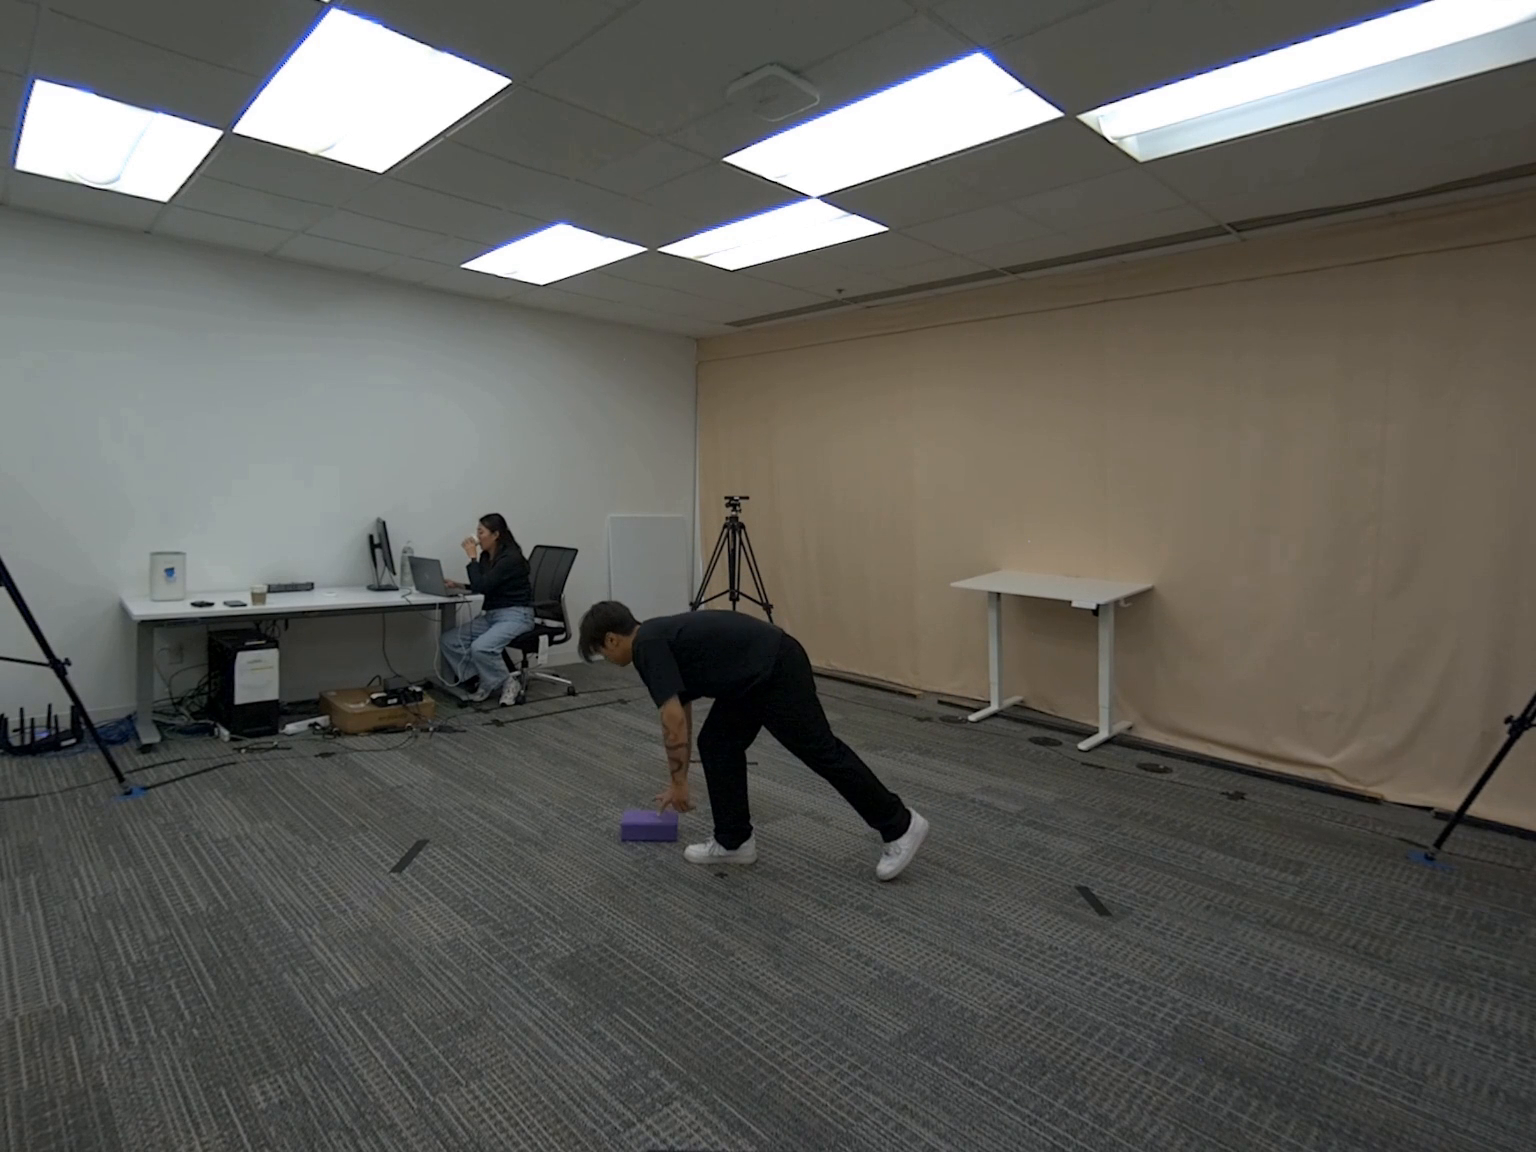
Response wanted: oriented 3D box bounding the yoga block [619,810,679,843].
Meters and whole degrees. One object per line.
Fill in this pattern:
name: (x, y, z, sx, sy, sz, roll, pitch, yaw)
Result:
yoga block: (-0.492, 1.022, 3.458, 0.229, 0.076, 0.149, 2, 4, -2)
